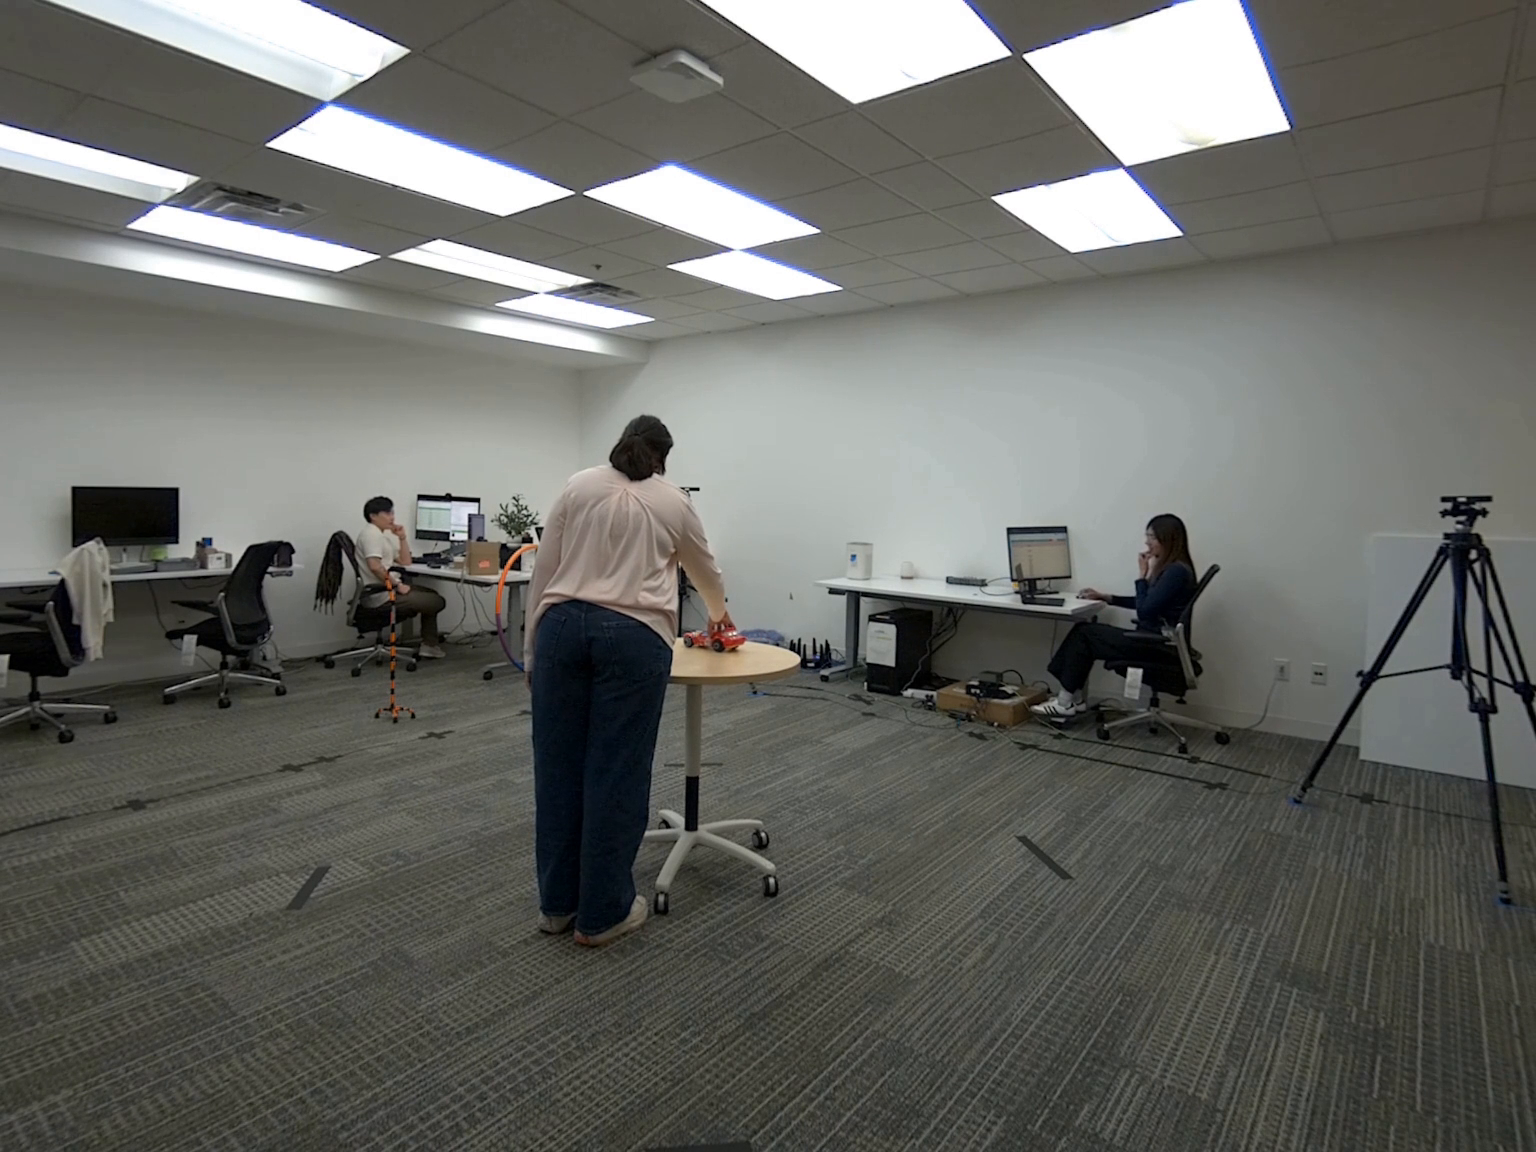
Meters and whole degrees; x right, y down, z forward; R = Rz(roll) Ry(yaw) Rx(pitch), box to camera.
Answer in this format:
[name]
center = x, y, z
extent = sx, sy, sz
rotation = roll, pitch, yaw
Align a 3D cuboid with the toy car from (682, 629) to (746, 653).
[toy car]
center = -0.208, 0.243, 3.232
extent = 0.261, 0.083, 0.126
rotation = -8, -2, 35
